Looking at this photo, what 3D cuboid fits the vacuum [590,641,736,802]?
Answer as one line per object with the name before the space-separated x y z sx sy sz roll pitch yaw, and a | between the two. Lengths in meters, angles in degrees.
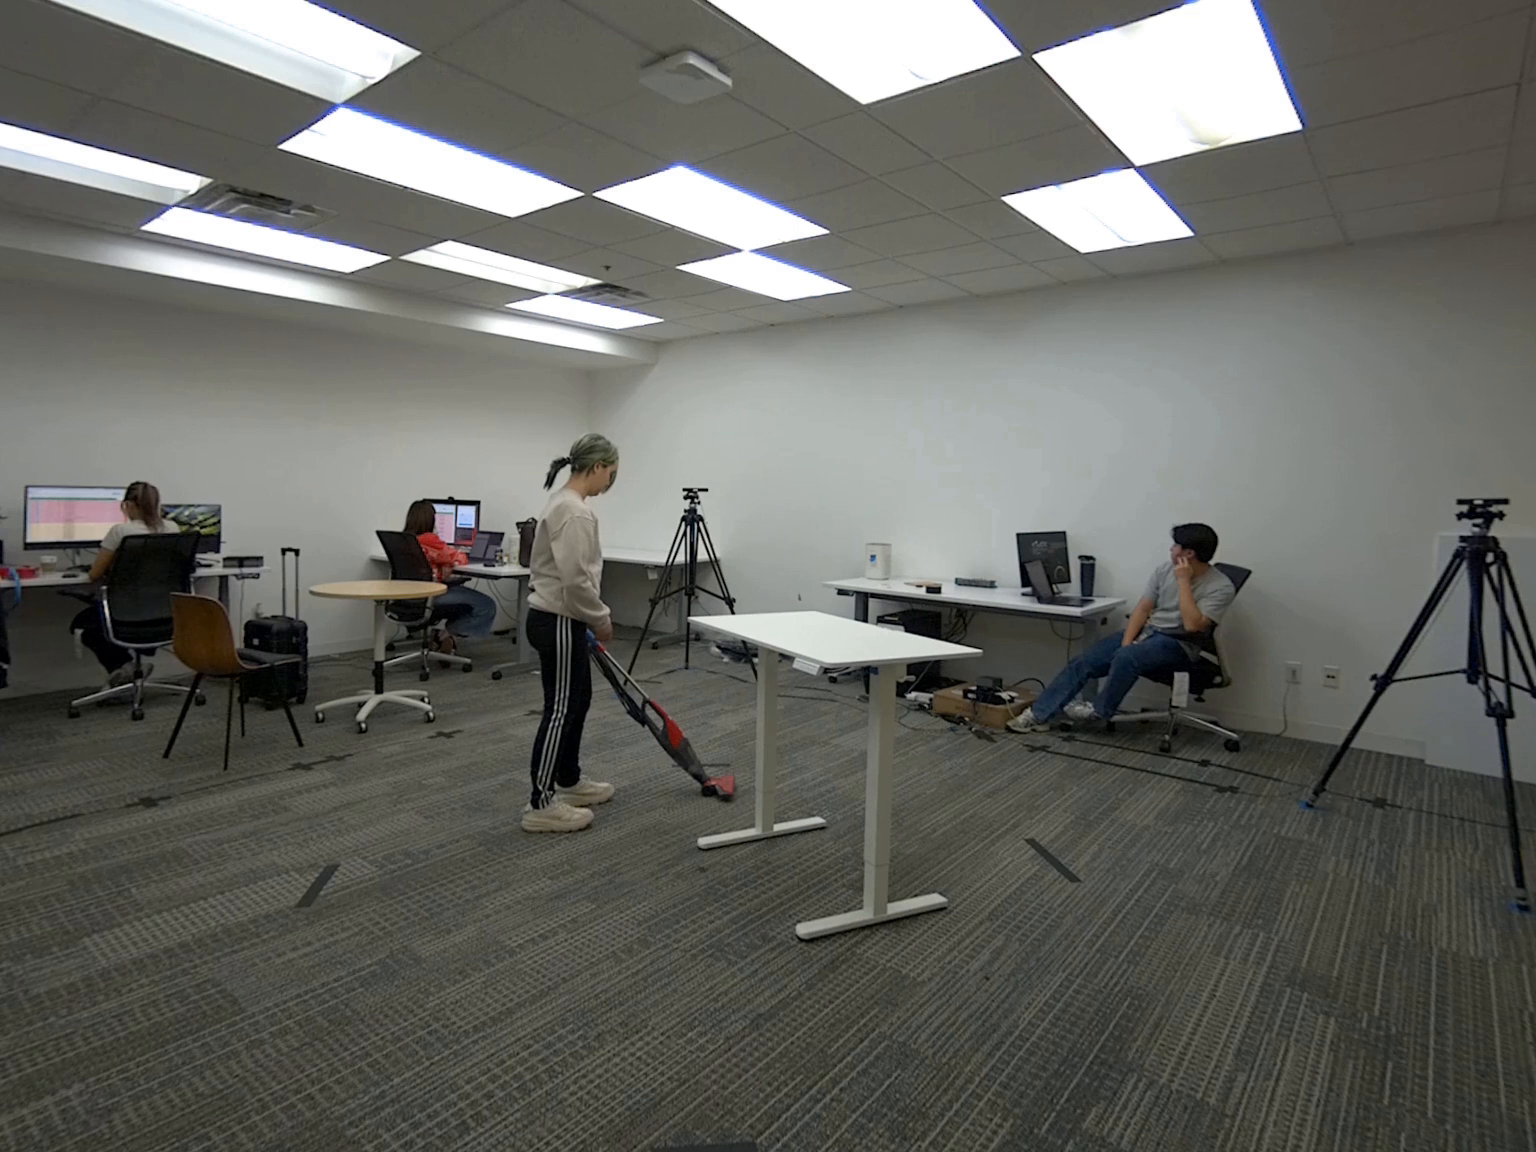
vacuum | -0.593 0.594 3.921 0.144 1.049 0.252 -43 0 6
